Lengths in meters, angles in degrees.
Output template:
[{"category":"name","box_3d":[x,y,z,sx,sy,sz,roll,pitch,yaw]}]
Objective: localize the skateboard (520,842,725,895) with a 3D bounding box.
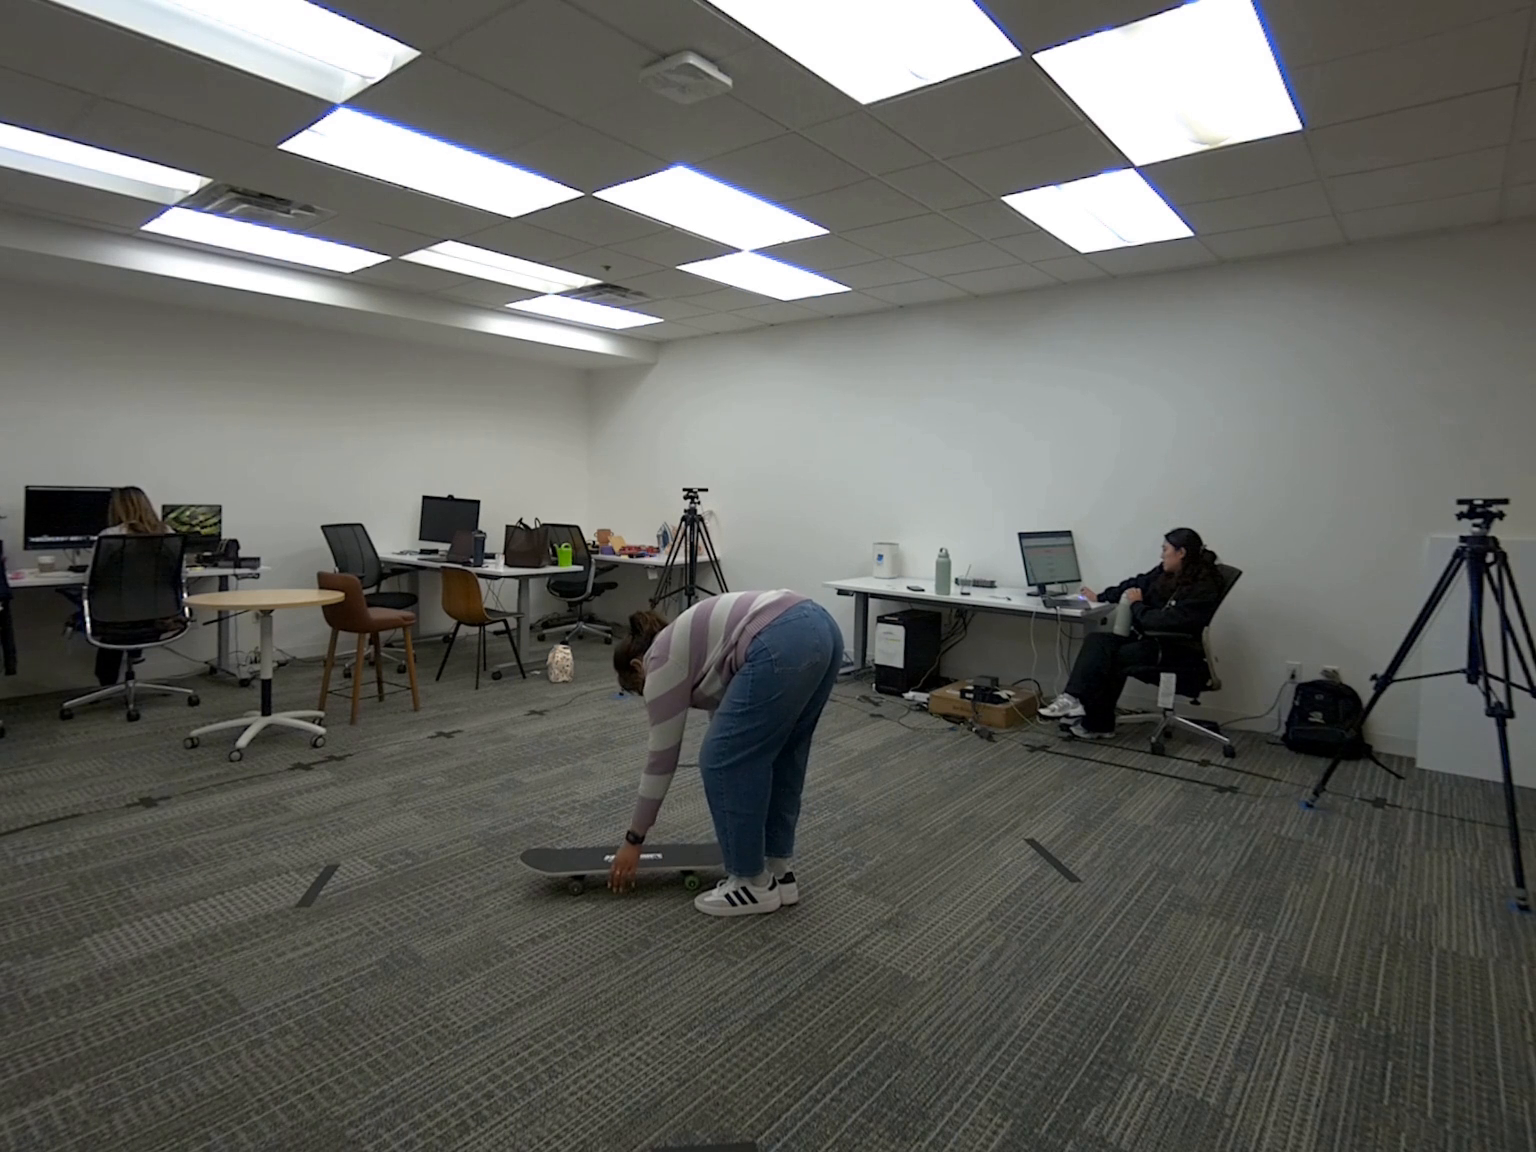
[{"category":"skateboard","box_3d":[-0.486,1.020,2.998,0.778,0.110,0.196,1,4,-9]}]
